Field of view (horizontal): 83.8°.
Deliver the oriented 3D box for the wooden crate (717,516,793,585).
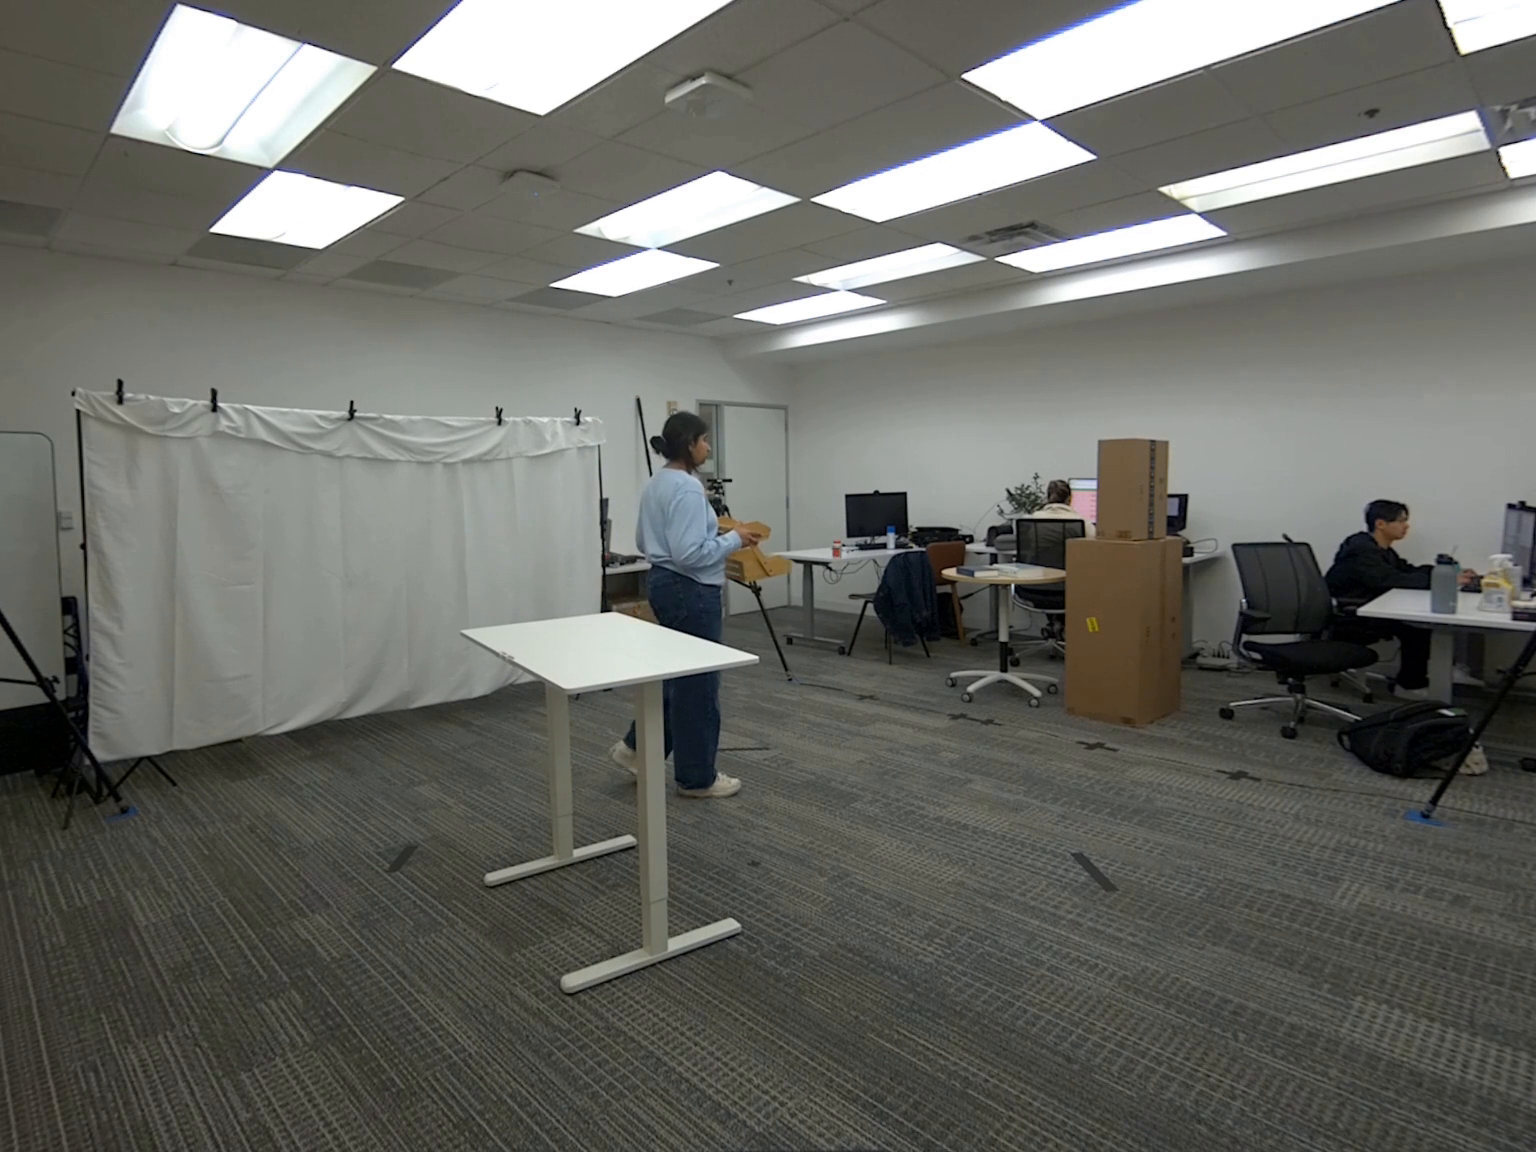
[{"bbox_3d":[-0.104,-0.140,3.900,0.297,0.270,0.333,-12,12,-26],"label":"wooden crate"}]
